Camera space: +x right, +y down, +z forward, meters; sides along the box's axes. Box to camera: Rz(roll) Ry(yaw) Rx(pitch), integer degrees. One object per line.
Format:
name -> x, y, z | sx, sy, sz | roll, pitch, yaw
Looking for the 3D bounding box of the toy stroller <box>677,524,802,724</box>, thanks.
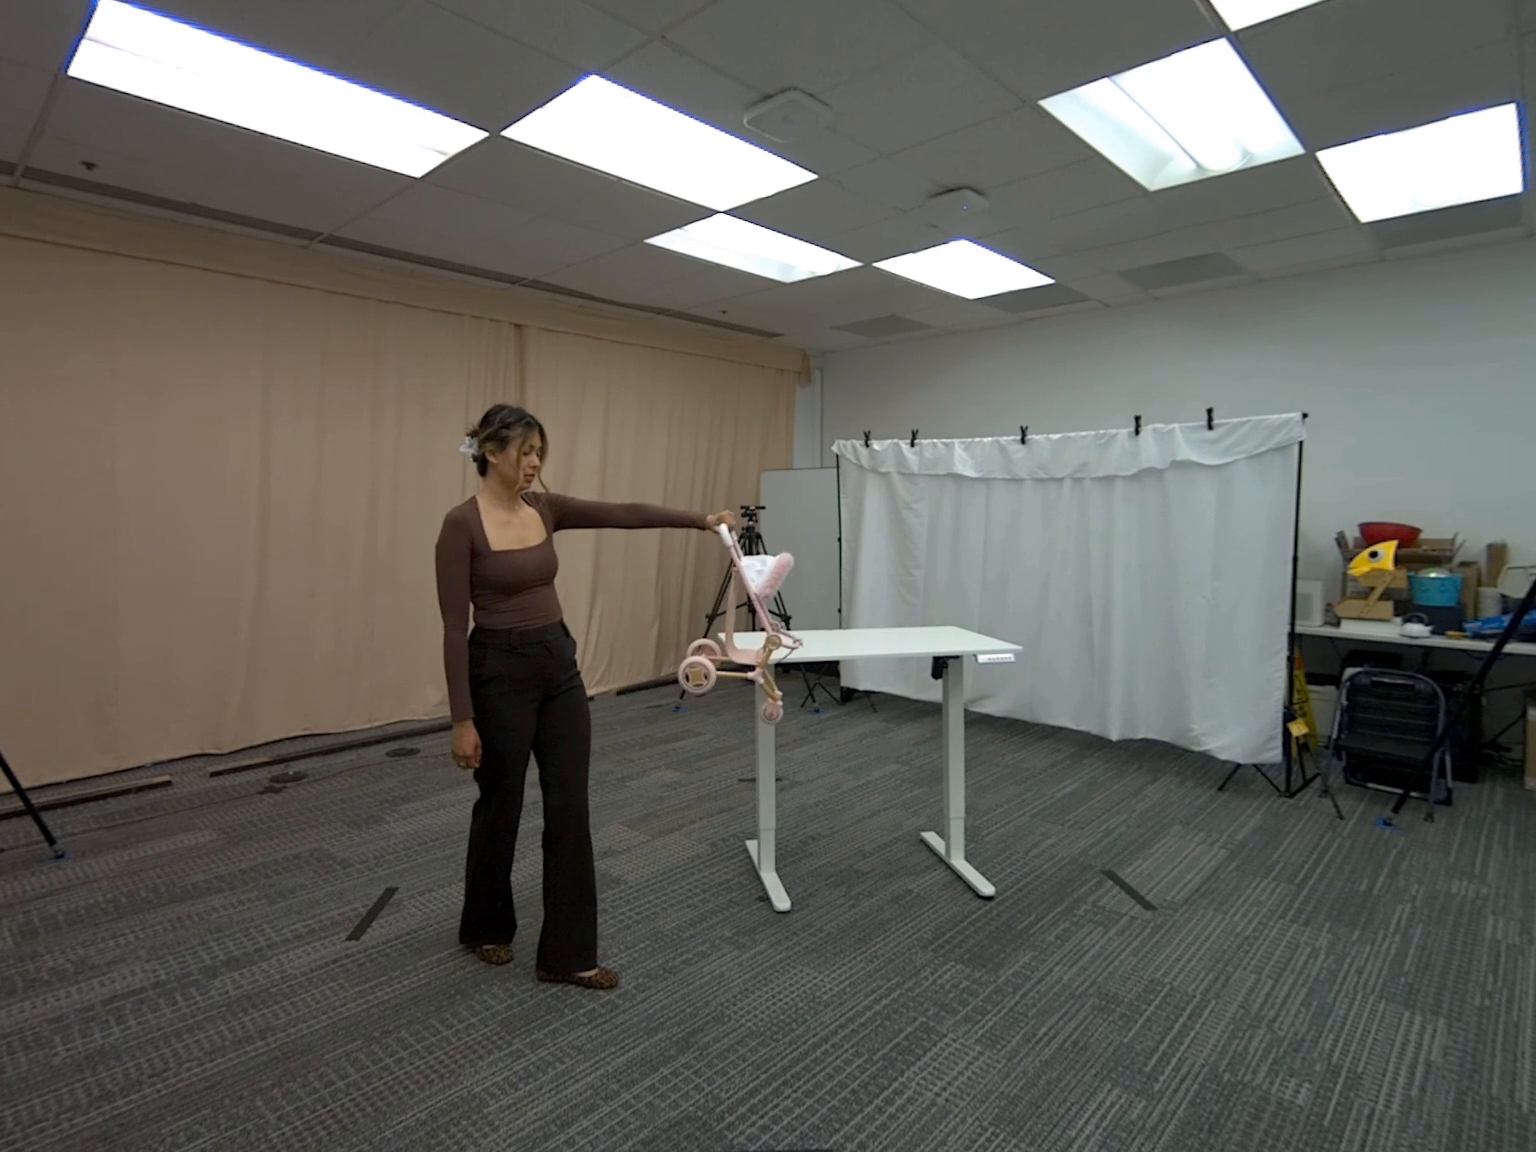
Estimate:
toy stroller -> -0.045, 0.145, 2.477 | 0.344, 0.534, 0.280 | 17, 4, 4
